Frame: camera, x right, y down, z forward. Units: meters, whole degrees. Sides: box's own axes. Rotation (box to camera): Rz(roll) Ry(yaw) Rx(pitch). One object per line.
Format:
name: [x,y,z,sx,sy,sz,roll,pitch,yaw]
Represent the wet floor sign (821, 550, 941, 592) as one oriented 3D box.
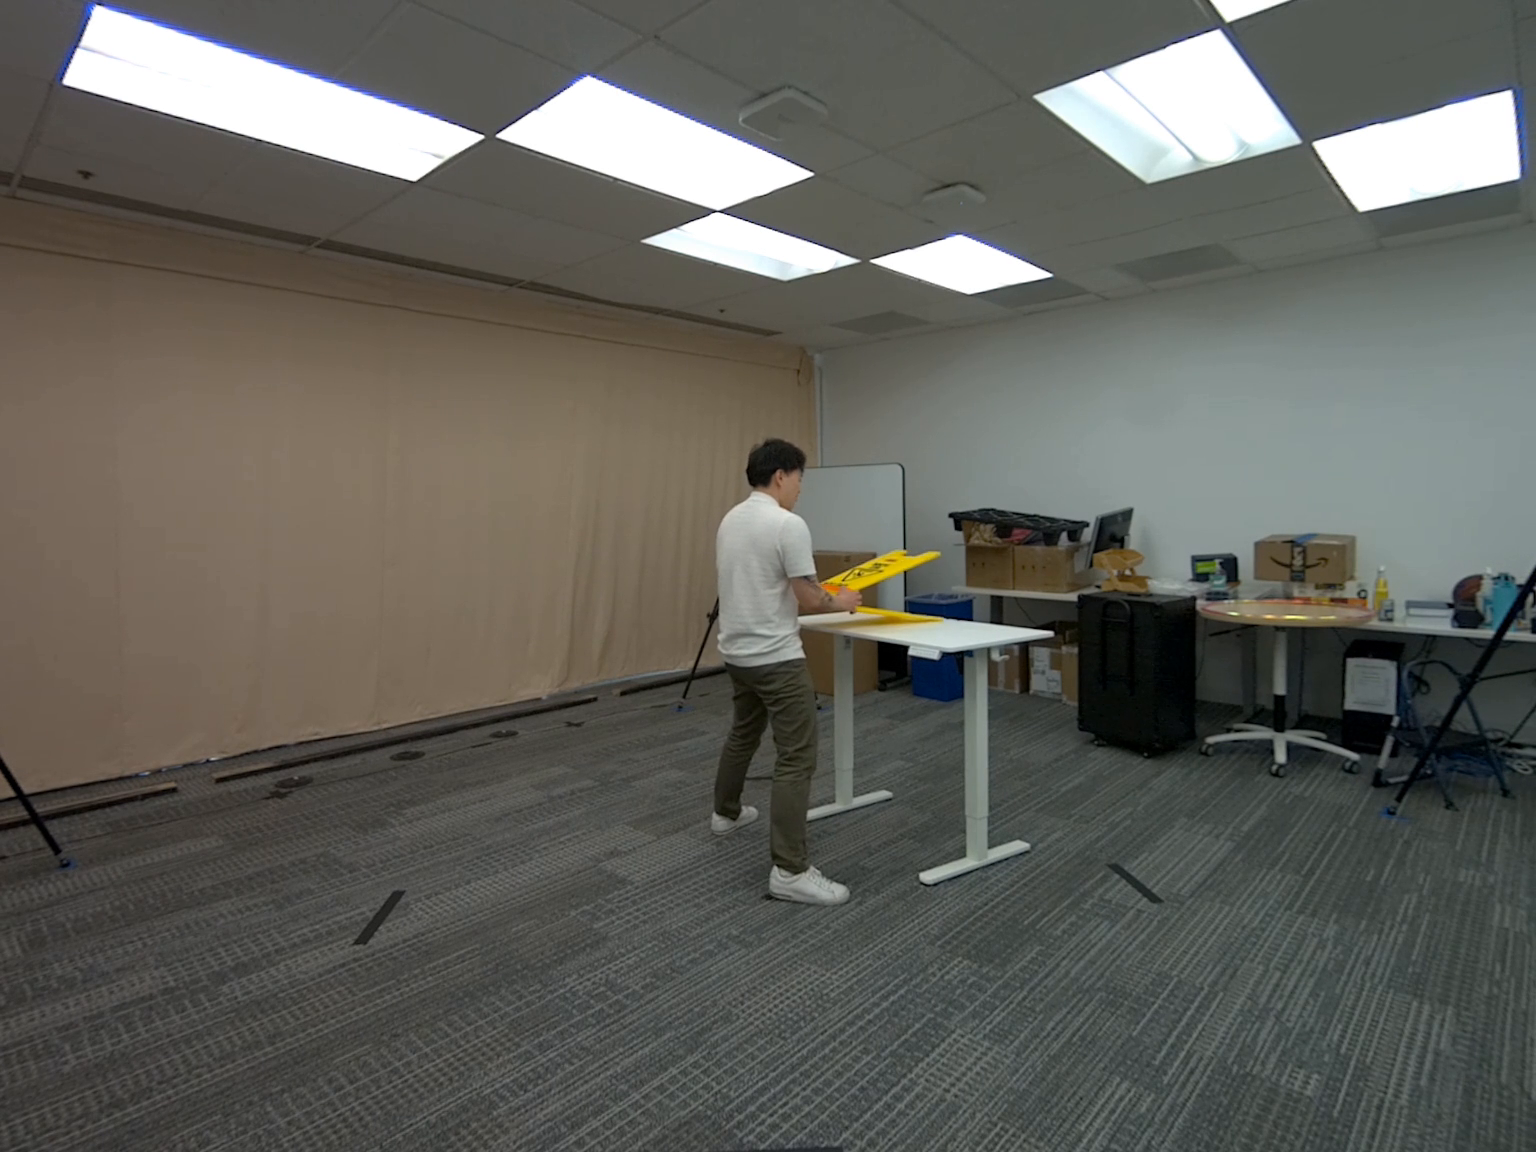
wet floor sign: [0.411,0.073,3.539,0.629,0.289,0.291,-6,6,-32]
